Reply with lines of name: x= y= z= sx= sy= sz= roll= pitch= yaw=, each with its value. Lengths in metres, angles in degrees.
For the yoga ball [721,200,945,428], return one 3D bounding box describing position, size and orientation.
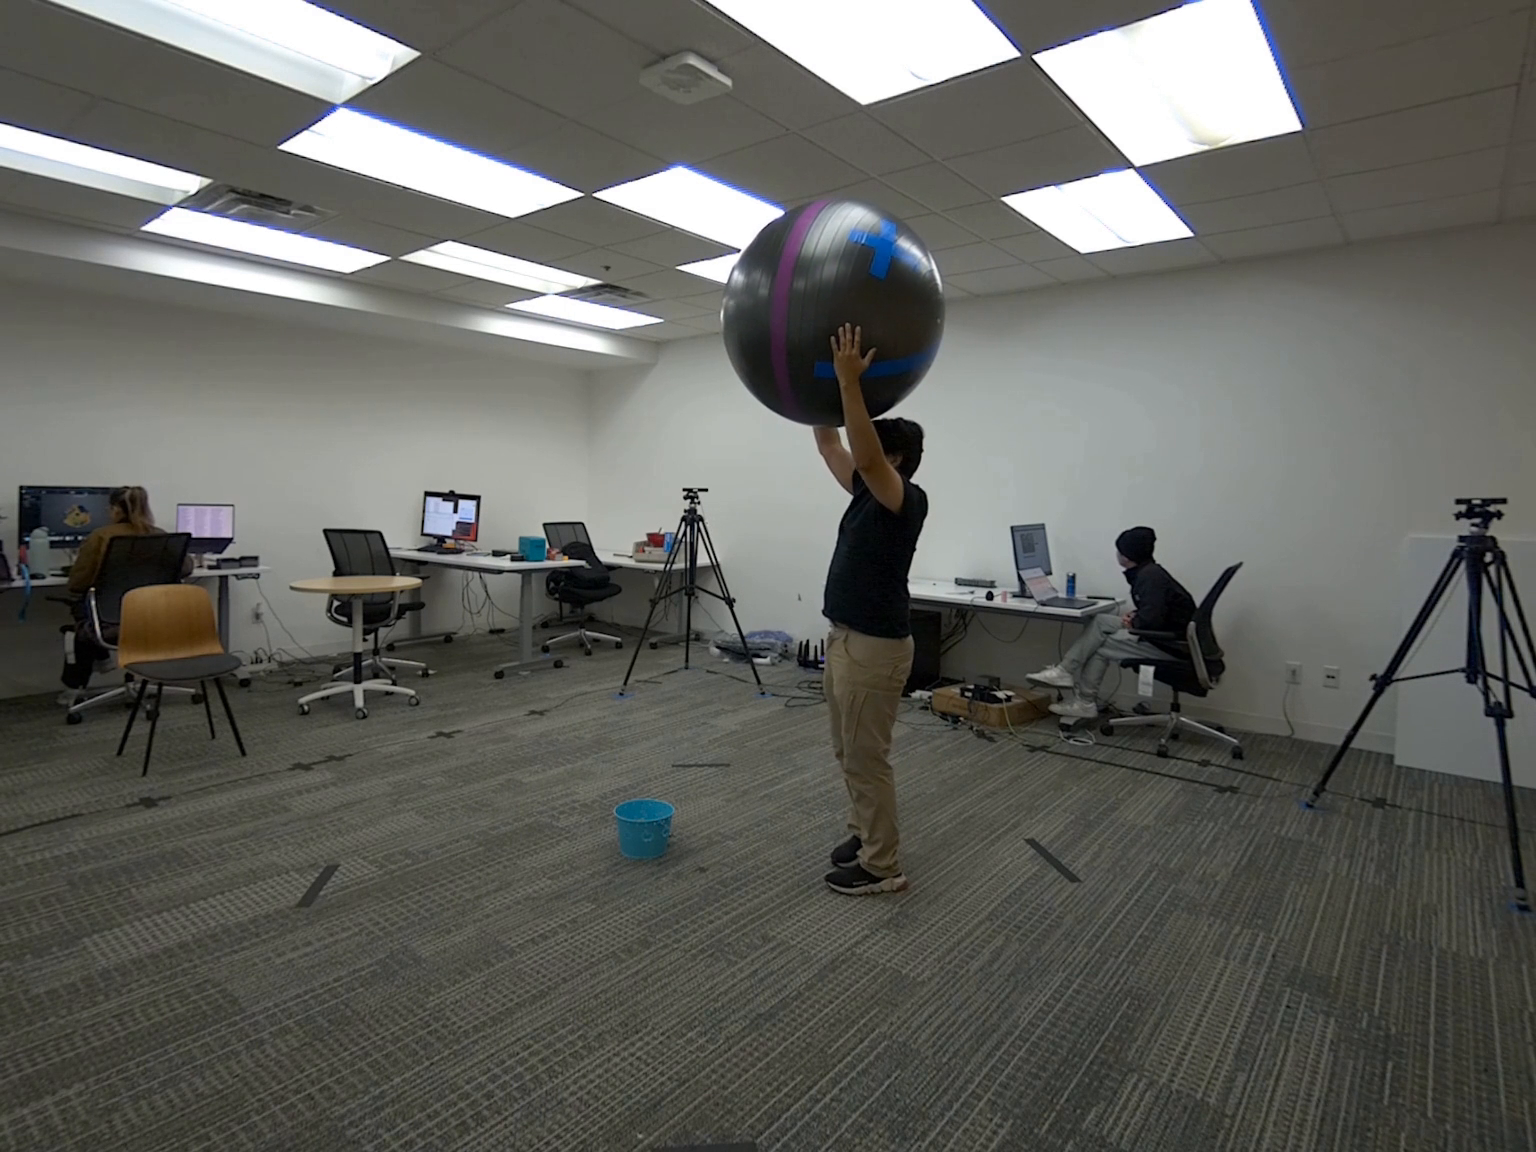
yoga ball: x=0.208 y=-0.890 z=2.927 sx=0.757 sy=0.756 sz=0.761 roll=1 pitch=4 yaw=-2
